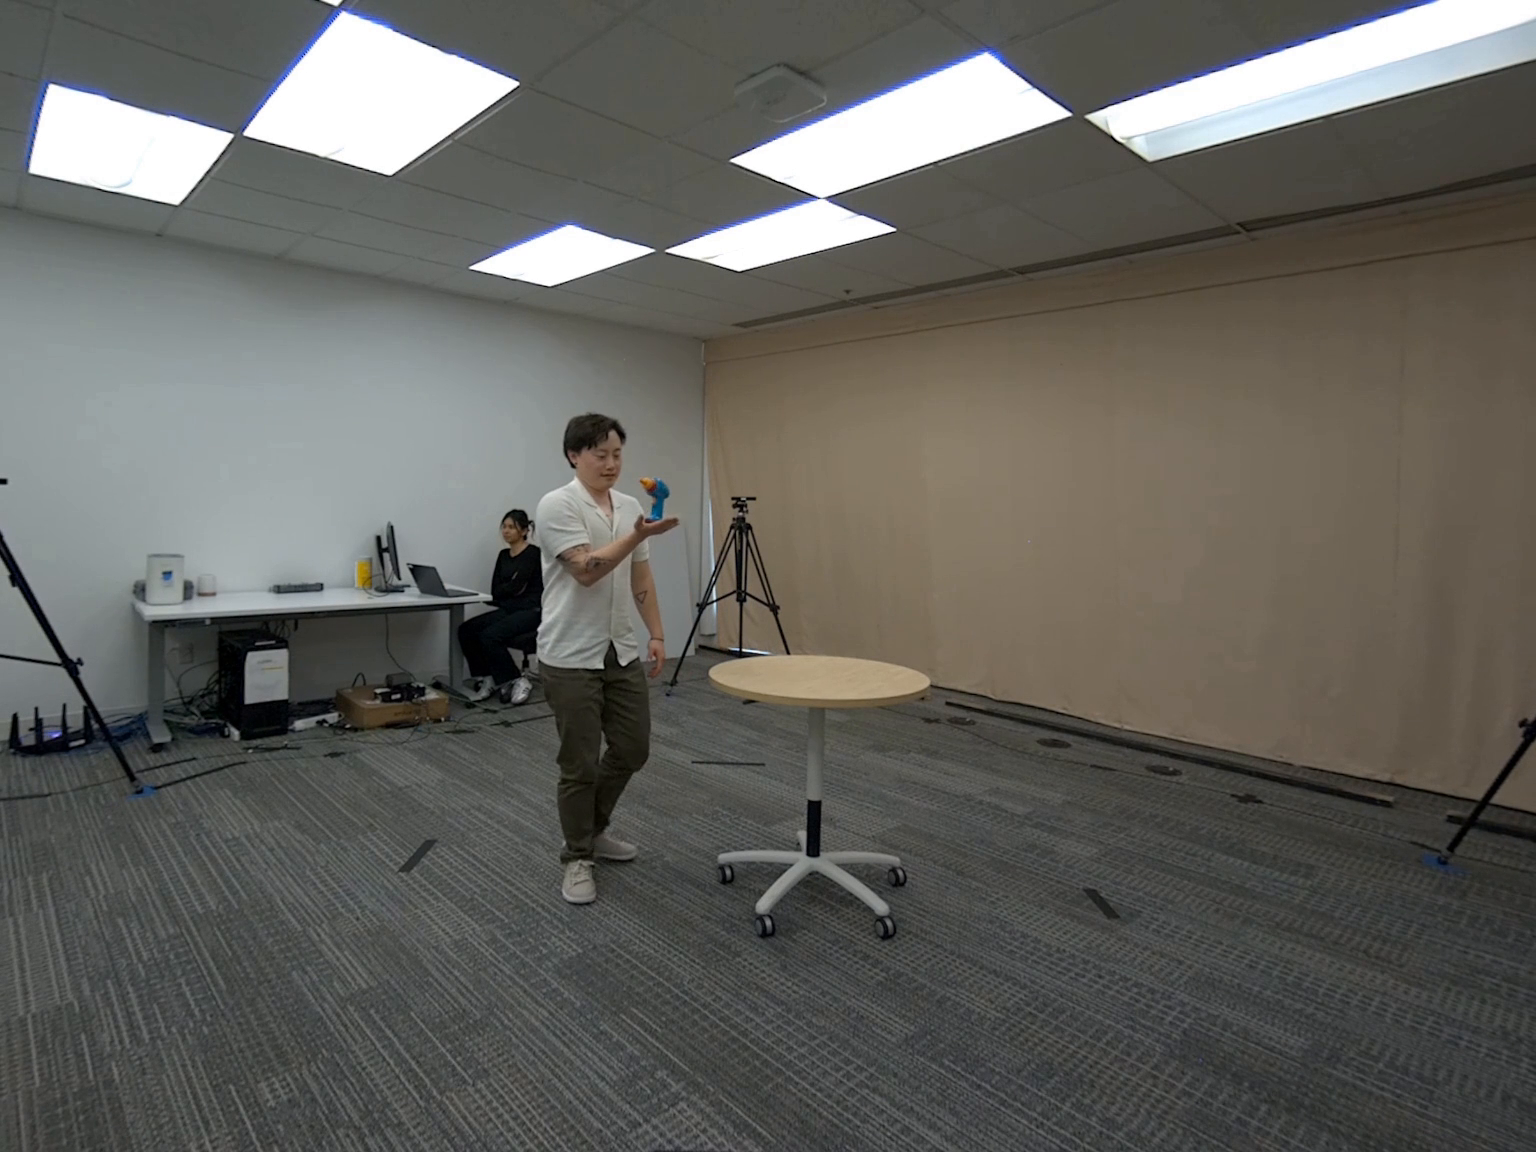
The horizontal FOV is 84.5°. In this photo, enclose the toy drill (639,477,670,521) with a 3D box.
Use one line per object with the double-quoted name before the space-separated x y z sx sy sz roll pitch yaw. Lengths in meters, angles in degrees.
"toy drill" -0.373 -0.244 2.682 0.062 0.147 0.166 6 -9 17
